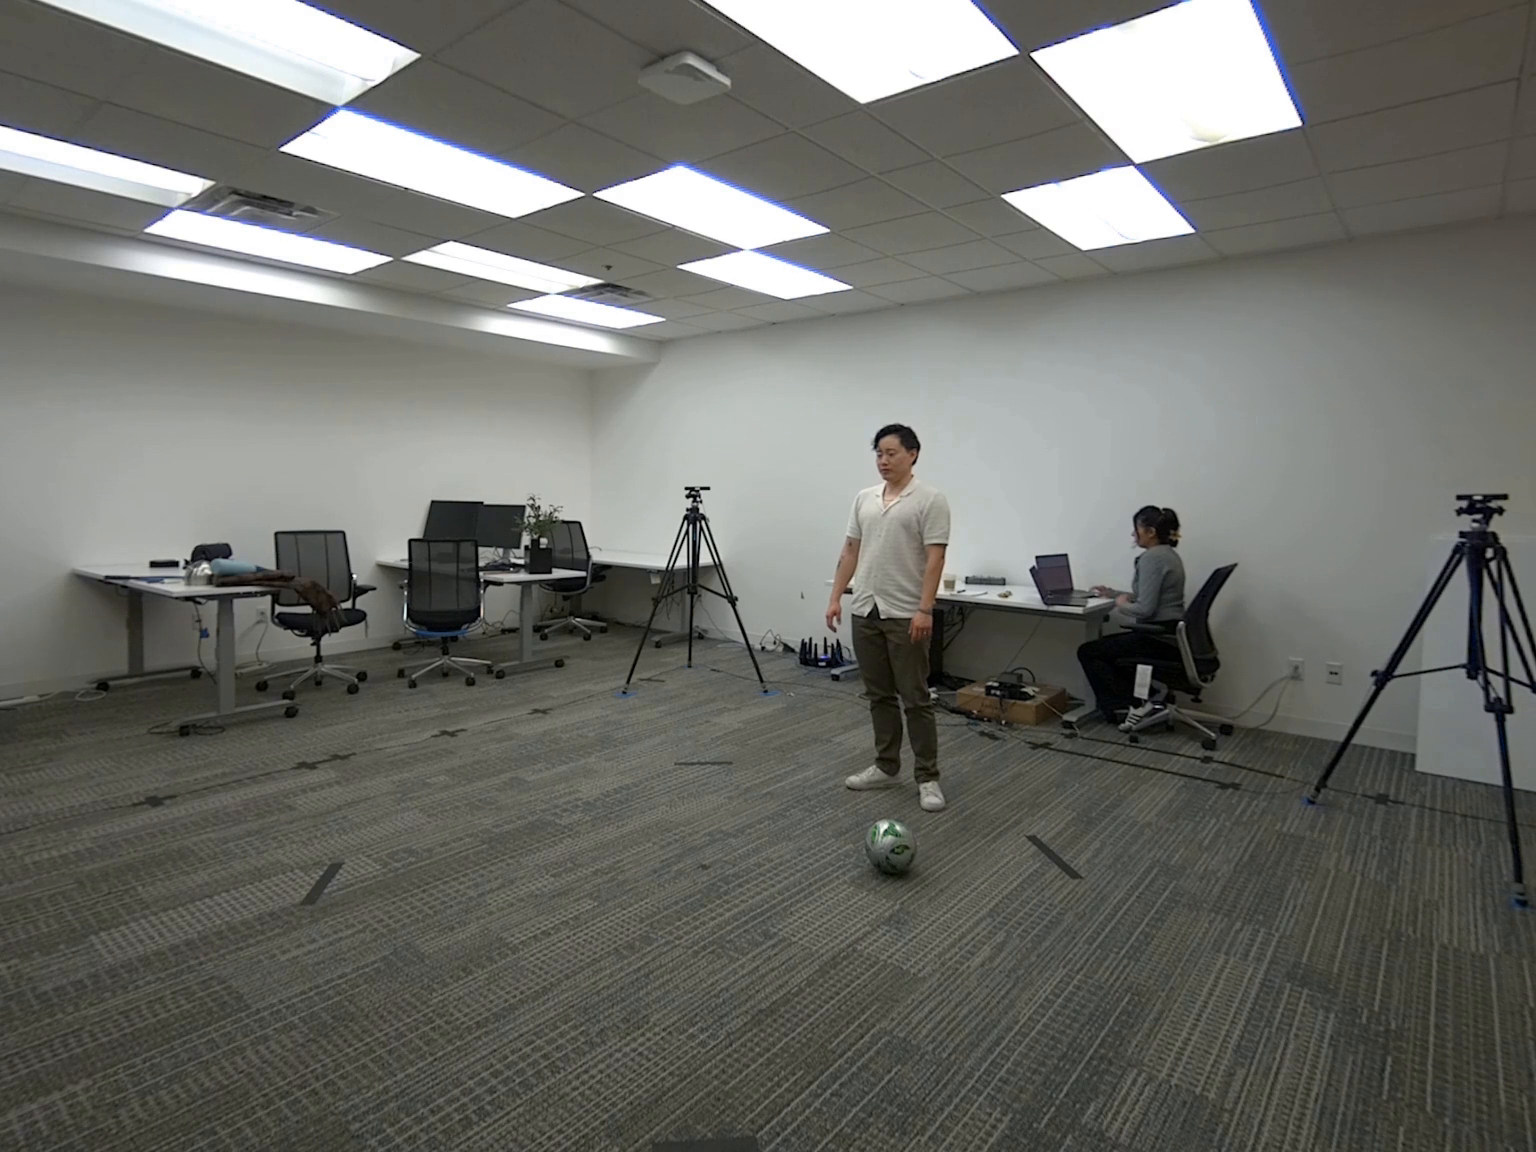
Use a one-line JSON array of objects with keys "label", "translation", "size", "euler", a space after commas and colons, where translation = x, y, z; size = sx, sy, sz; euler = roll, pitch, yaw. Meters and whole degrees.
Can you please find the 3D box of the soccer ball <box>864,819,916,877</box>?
[{"label": "soccer ball", "translation": [0.446, 0.984, 3.110], "size": [0.187, 0.187, 0.188], "euler": [1, 4, -2]}]
